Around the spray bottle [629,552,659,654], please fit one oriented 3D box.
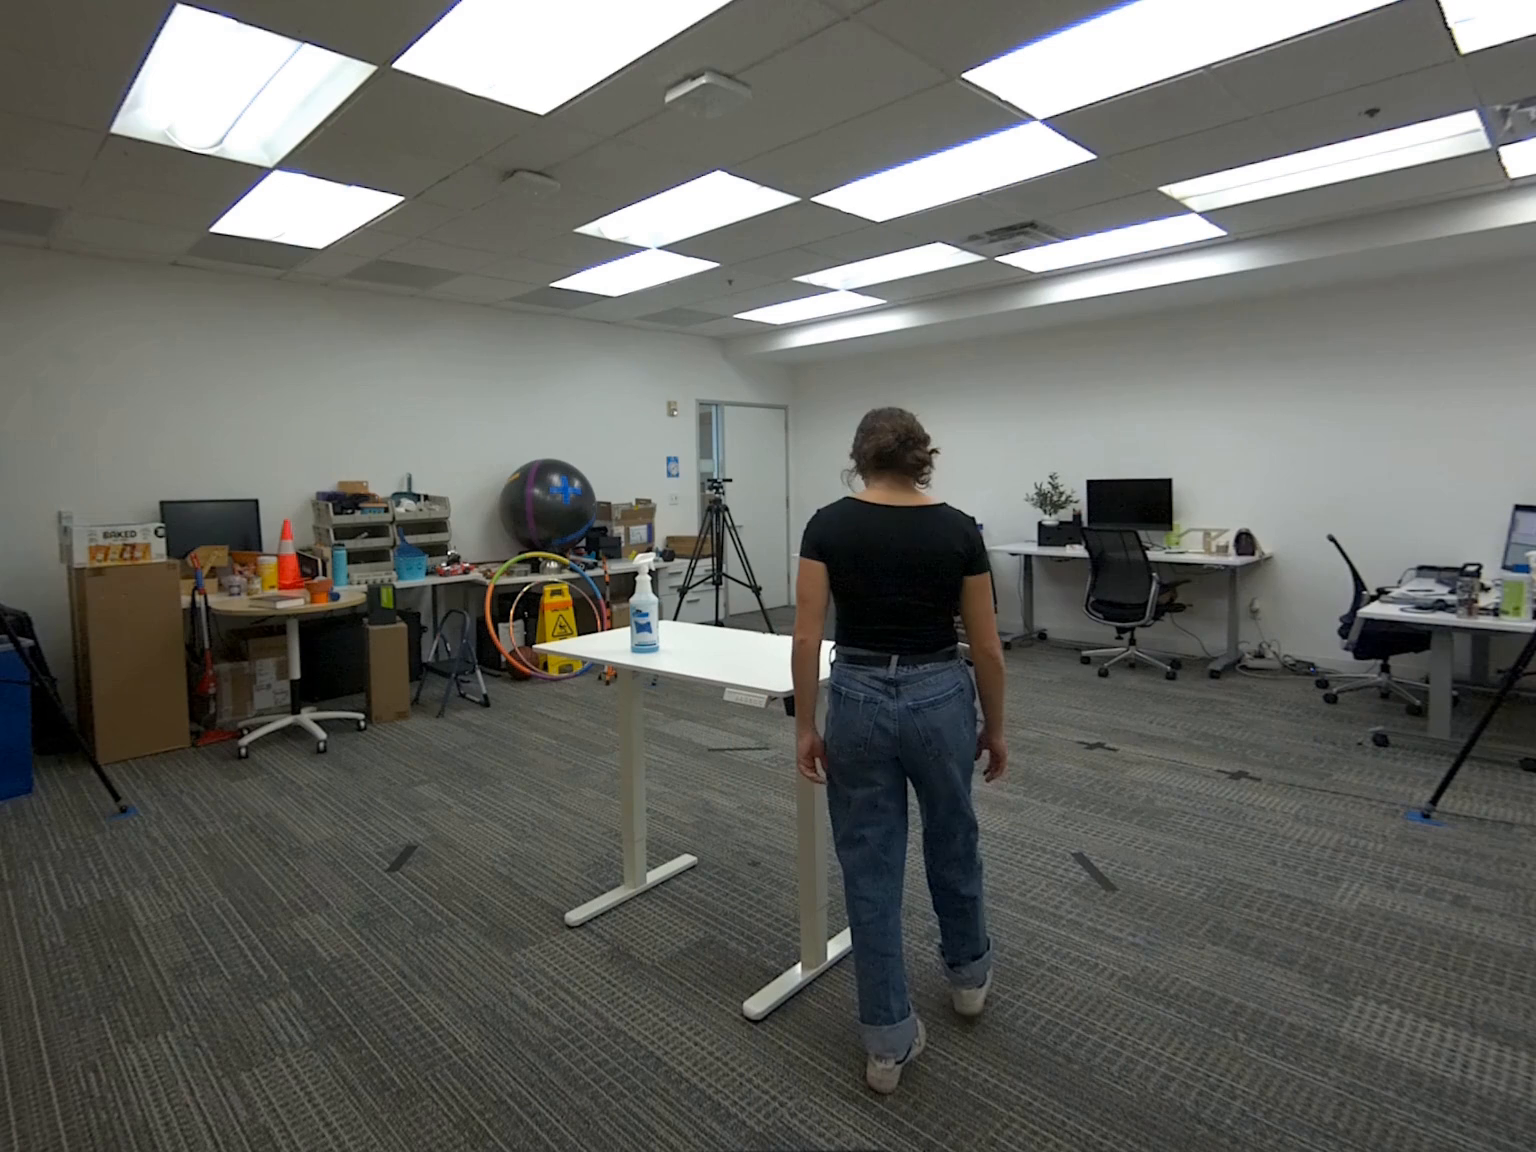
[{"bbox_3d":[-0.375,0.083,2.591,0.088,0.296,0.089,-2,3,-28],"label":"spray bottle"}]
